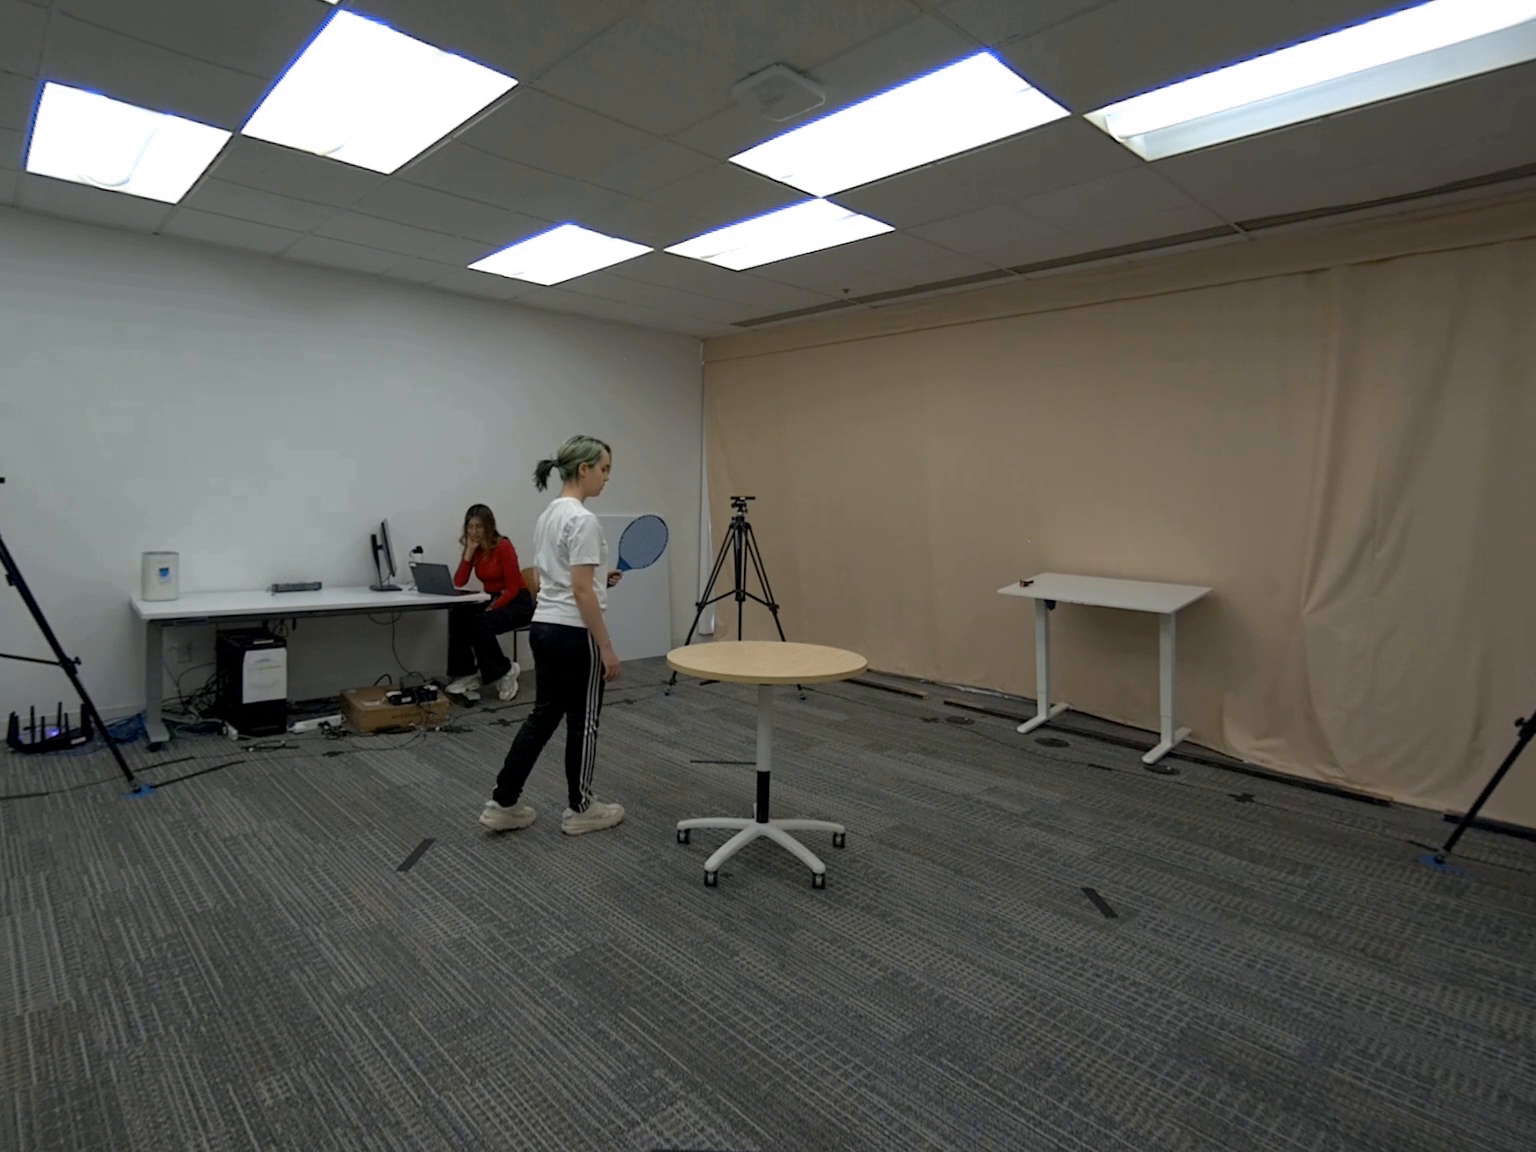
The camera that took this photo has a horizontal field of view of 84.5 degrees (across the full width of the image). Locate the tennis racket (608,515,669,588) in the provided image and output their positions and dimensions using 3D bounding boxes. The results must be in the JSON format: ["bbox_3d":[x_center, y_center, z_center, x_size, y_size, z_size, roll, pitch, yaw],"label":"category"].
[{"bbox_3d":[-0.619,-0.091,3.729,0.433,0.209,0.032,-47,25,-17],"label":"tennis racket"}]
